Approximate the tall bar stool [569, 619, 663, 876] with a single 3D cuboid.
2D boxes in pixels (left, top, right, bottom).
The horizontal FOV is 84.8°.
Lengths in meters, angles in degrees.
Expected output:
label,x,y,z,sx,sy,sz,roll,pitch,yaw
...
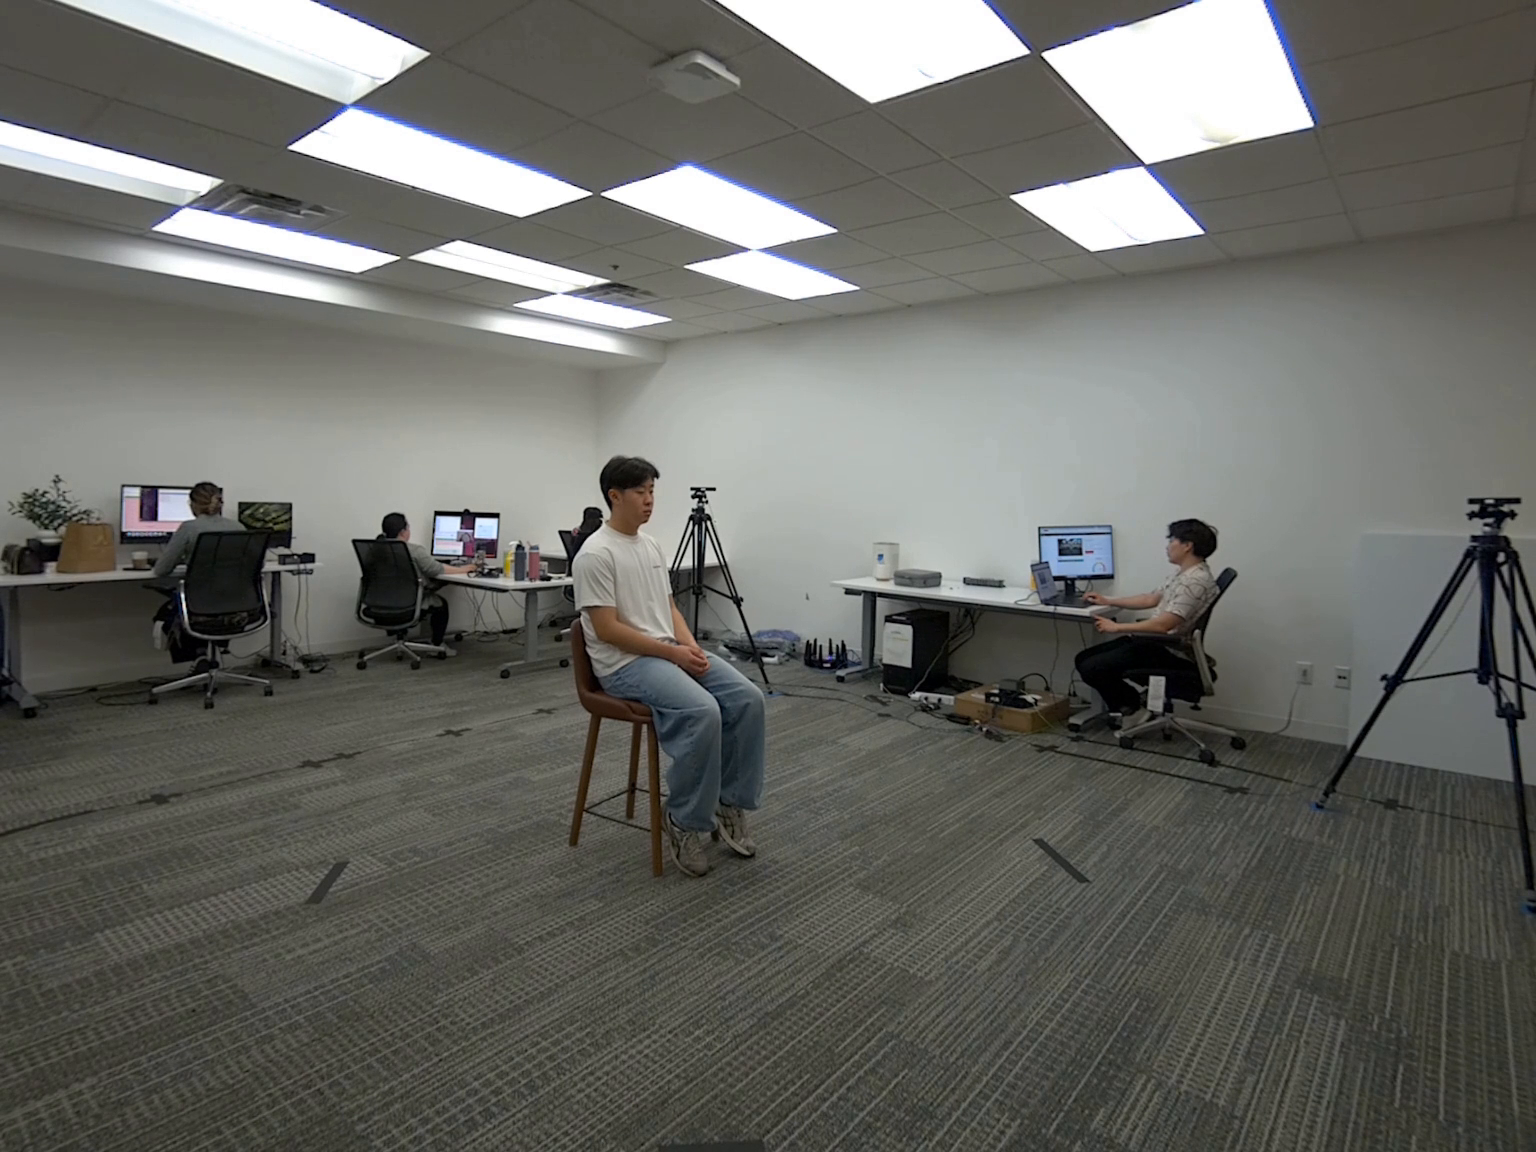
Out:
label,x,y,z,sx,sy,sz,roll,pitch,yaw
tall bar stool,-0.499,0.606,3.317,0.481,0.889,0.444,0,1,31
